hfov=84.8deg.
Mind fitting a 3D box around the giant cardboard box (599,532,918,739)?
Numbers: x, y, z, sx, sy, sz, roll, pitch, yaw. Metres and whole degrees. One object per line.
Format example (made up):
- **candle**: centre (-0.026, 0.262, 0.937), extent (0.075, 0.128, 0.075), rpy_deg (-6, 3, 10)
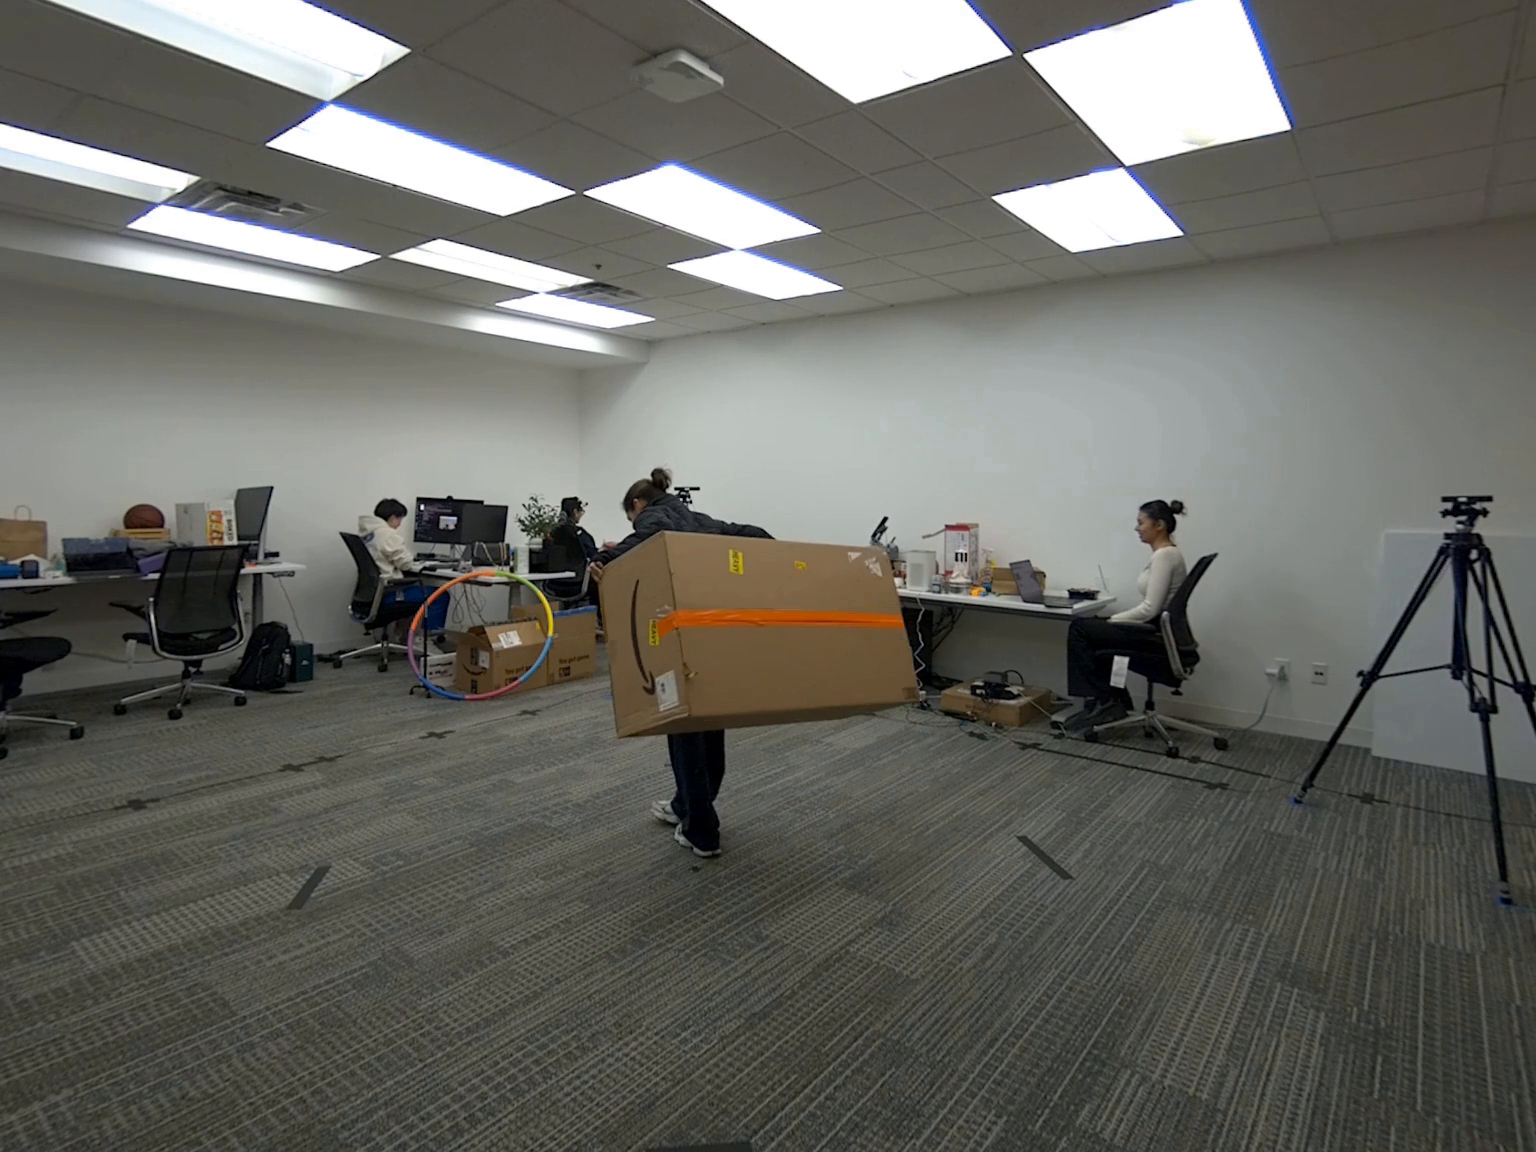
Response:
- **giant cardboard box**: centre (-0.011, 0.217, 2.998), extent (0.993, 0.589, 0.432), rpy_deg (3, -21, -38)
